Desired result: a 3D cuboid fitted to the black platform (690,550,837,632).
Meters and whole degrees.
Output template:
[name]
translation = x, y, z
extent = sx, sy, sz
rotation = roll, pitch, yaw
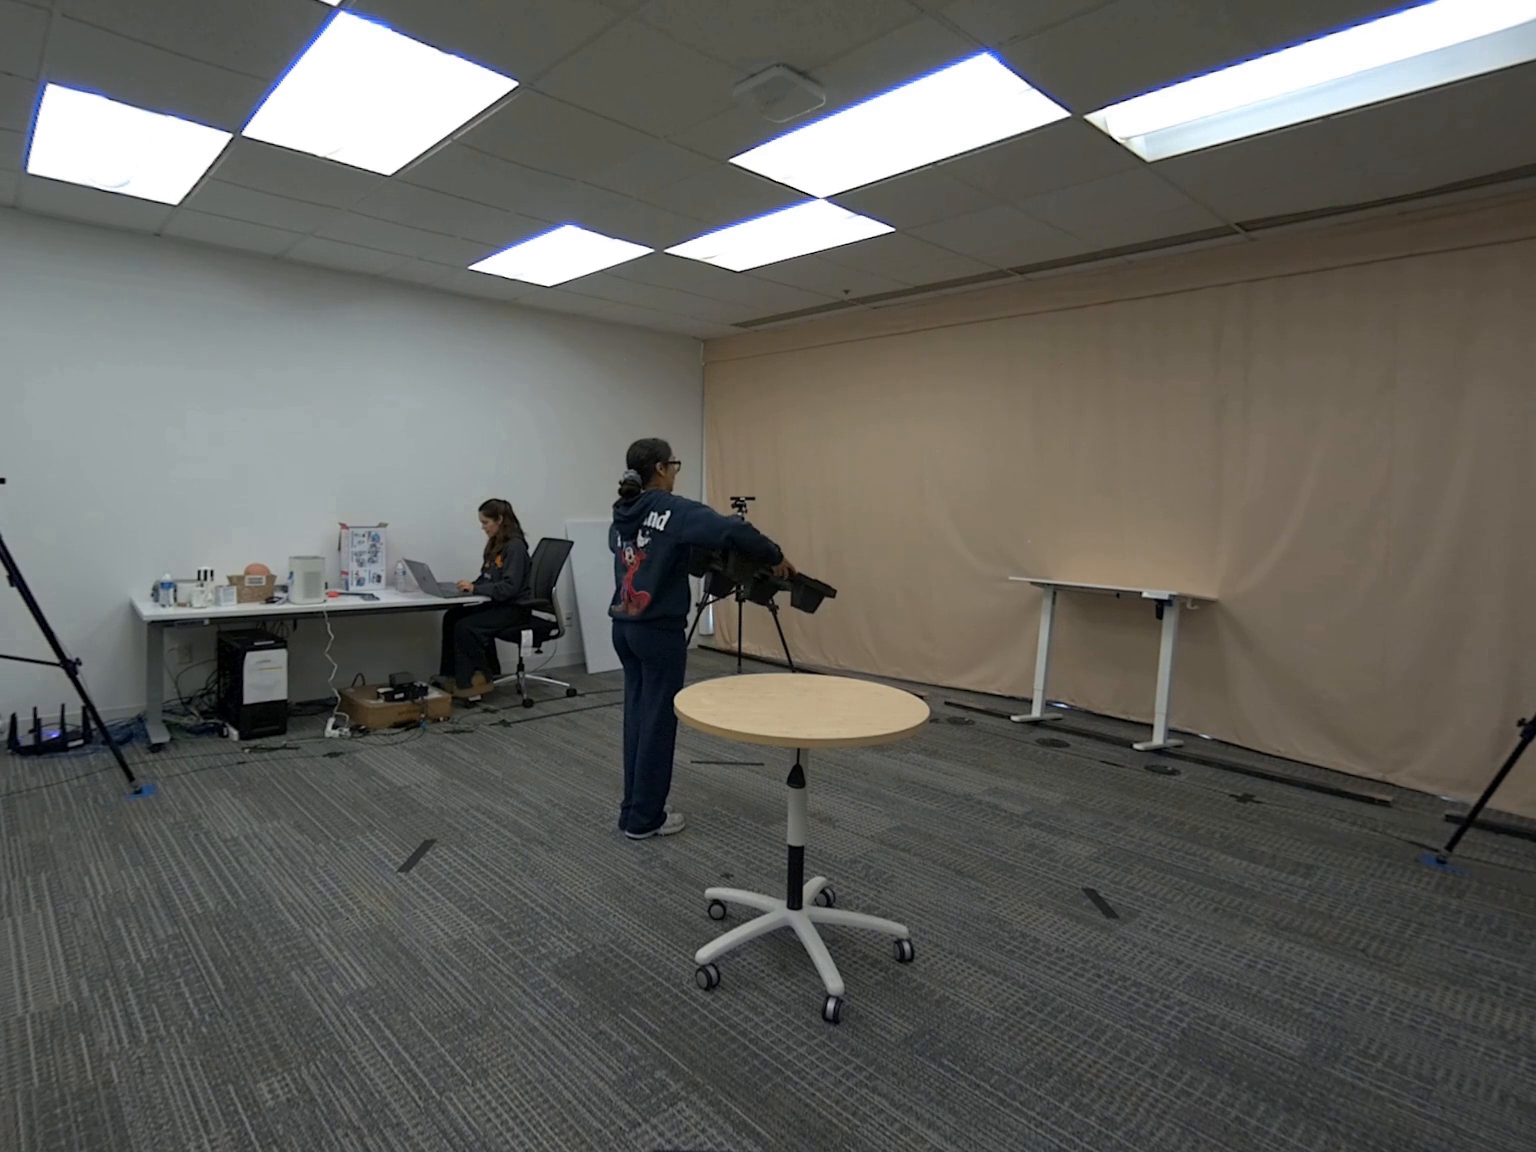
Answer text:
[black platform]
translation = -0.180, 0.006, 3.724
extent = 0.588, 0.144, 0.825
rotation = 26, -13, -34
